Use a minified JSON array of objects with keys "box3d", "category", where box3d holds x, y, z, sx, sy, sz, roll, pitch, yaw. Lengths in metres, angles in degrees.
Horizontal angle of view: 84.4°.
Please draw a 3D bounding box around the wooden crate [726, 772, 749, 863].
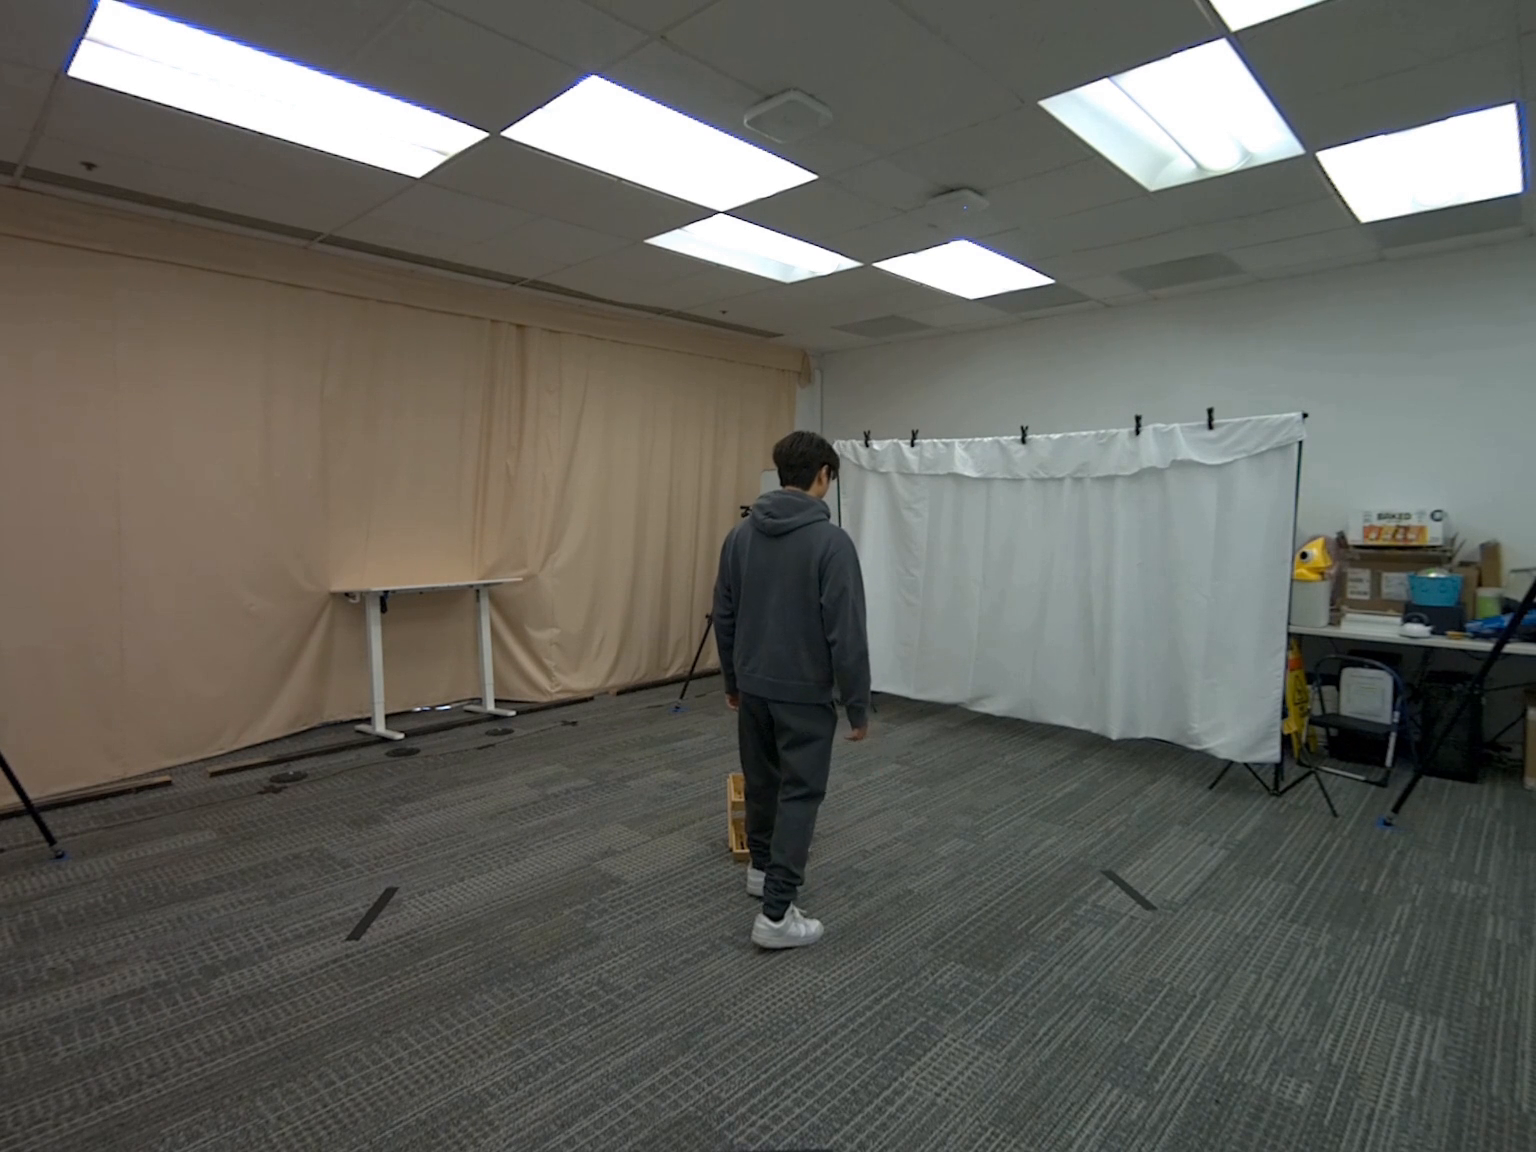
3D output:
[{"box3d":[0.004,0.972,3.417,0.323,0.273,0.304,0,3,-5],"category":"wooden crate"}]
